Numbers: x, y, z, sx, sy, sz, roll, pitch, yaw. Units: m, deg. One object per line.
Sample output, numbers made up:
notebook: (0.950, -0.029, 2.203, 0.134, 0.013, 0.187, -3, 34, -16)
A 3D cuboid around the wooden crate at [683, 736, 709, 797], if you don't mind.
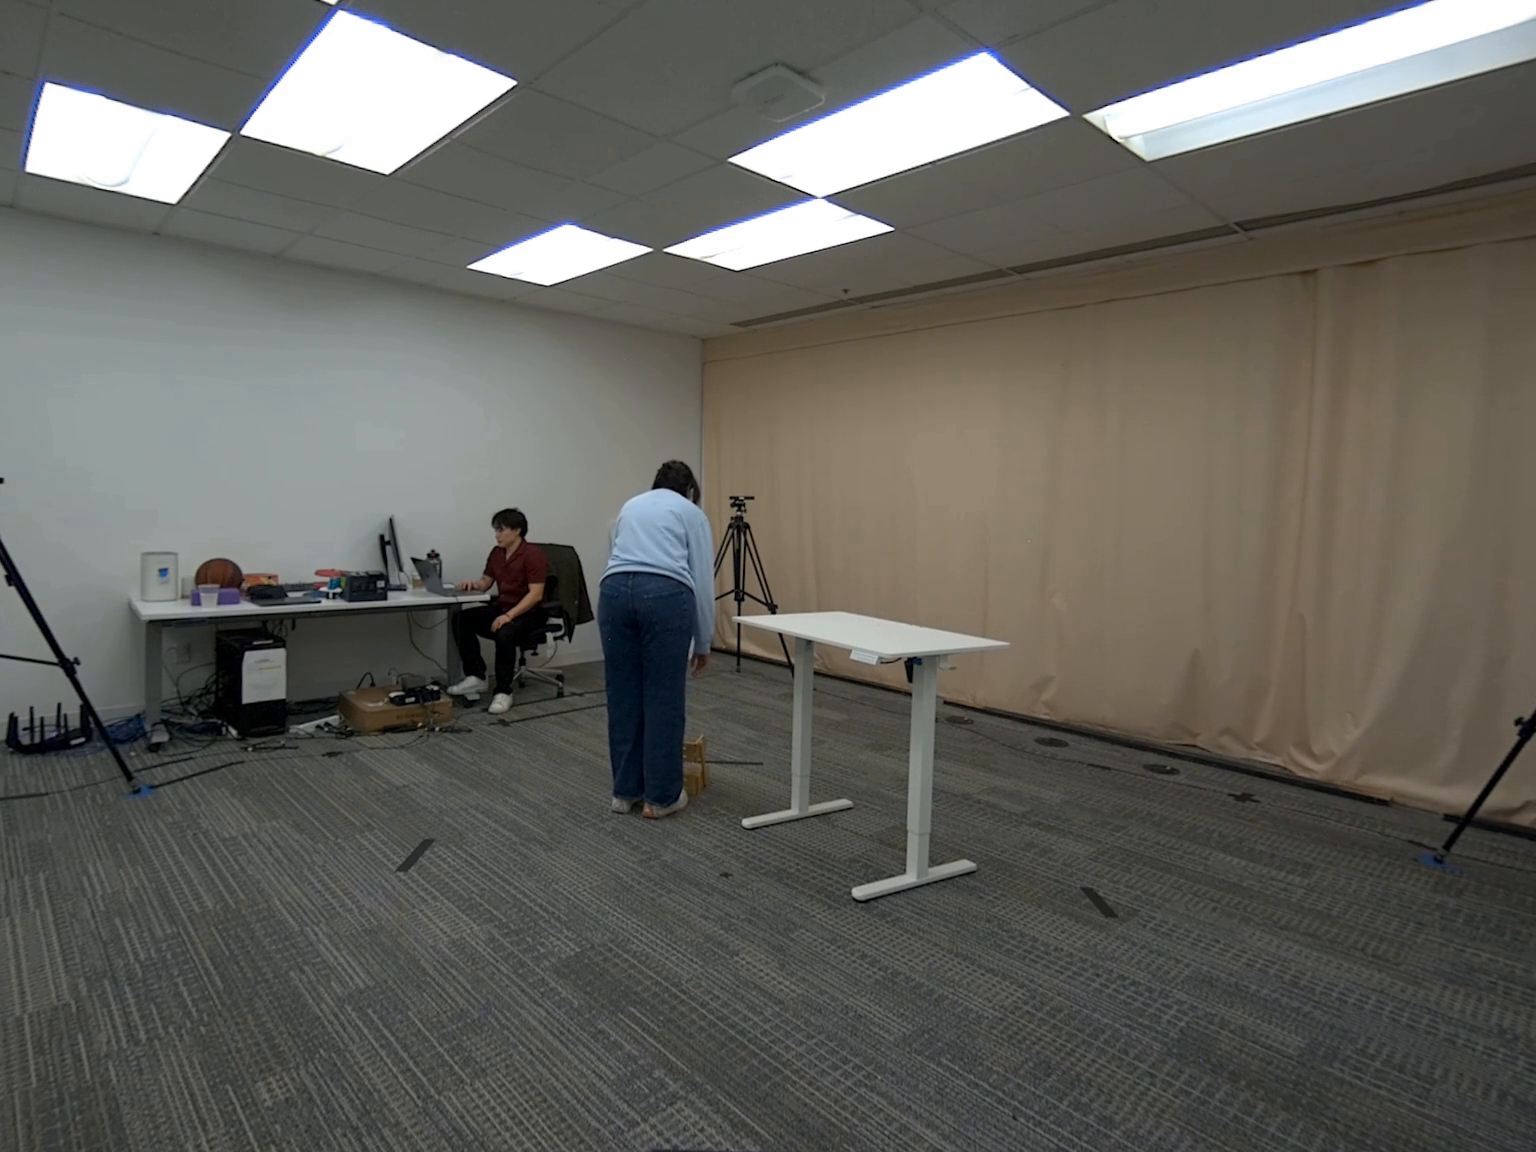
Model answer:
wooden crate: (-0.470, 0.885, 4.078, 0.327, 0.272, 0.300, 2, 6, 10)
